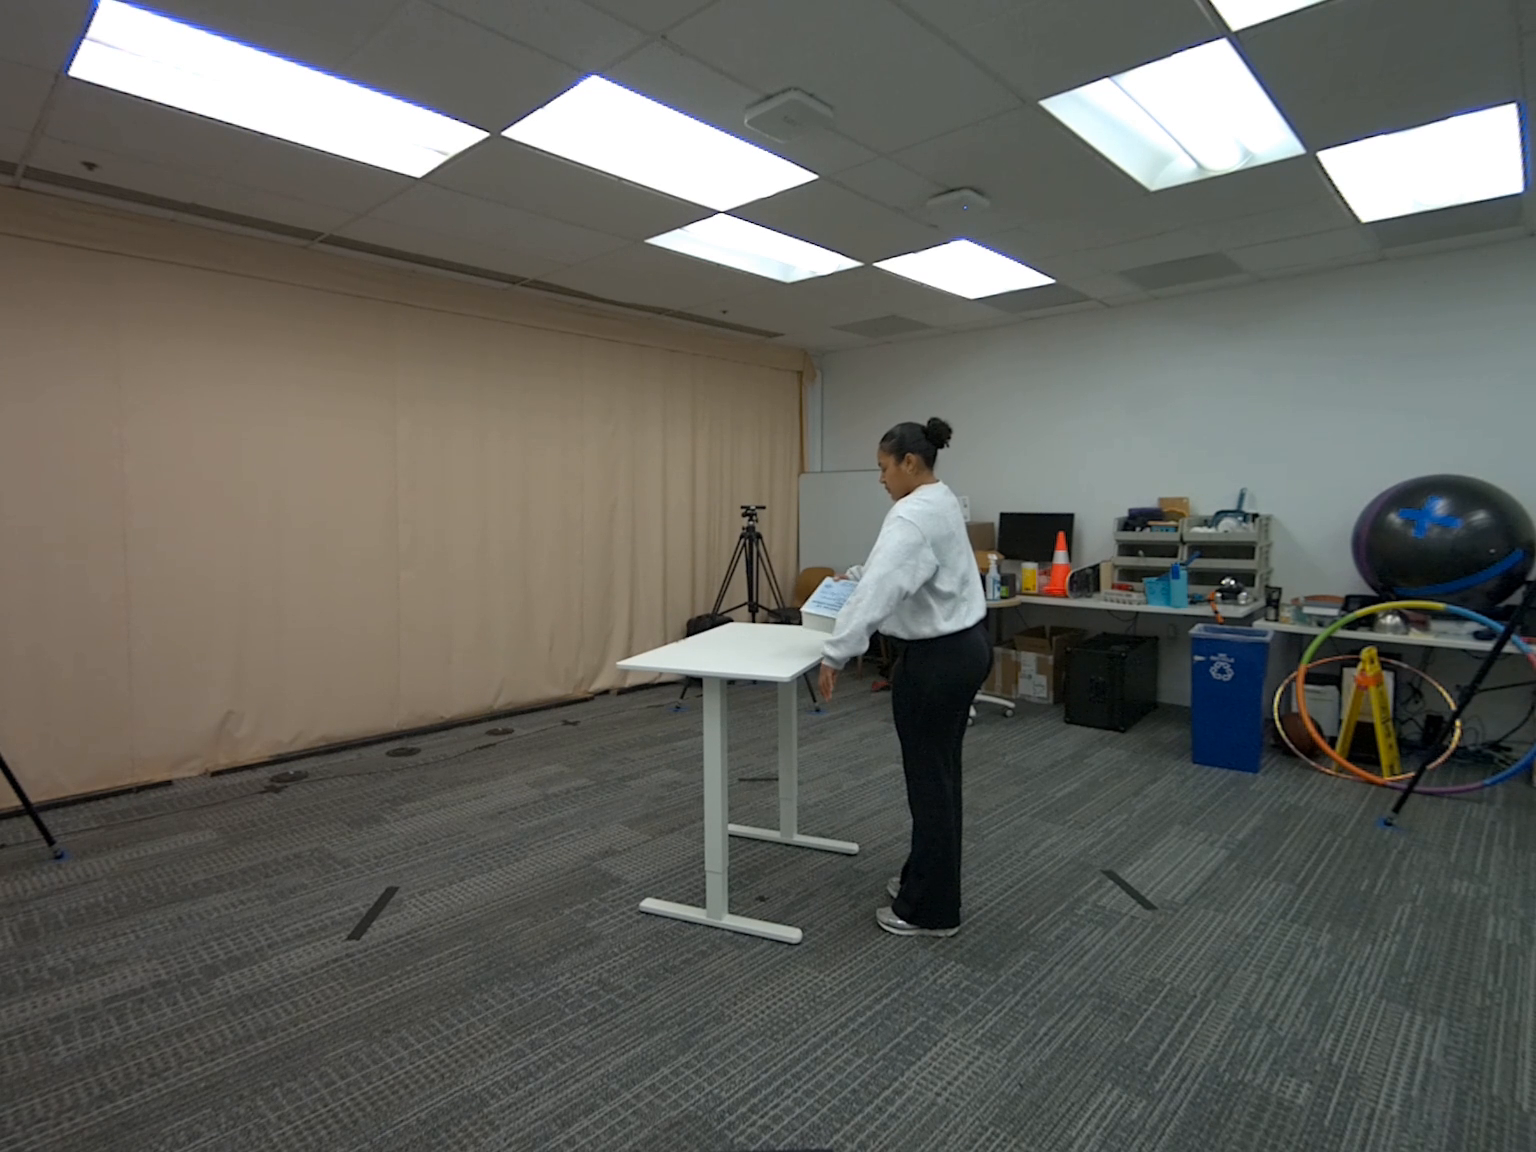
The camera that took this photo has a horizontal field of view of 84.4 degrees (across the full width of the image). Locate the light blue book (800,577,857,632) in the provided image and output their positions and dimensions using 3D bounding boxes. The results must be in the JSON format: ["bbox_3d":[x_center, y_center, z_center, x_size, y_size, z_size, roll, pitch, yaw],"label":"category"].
[{"bbox_3d":[0.261,0.104,2.813,0.196,0.058,0.259,10,30,21],"label":"light blue book"}]
